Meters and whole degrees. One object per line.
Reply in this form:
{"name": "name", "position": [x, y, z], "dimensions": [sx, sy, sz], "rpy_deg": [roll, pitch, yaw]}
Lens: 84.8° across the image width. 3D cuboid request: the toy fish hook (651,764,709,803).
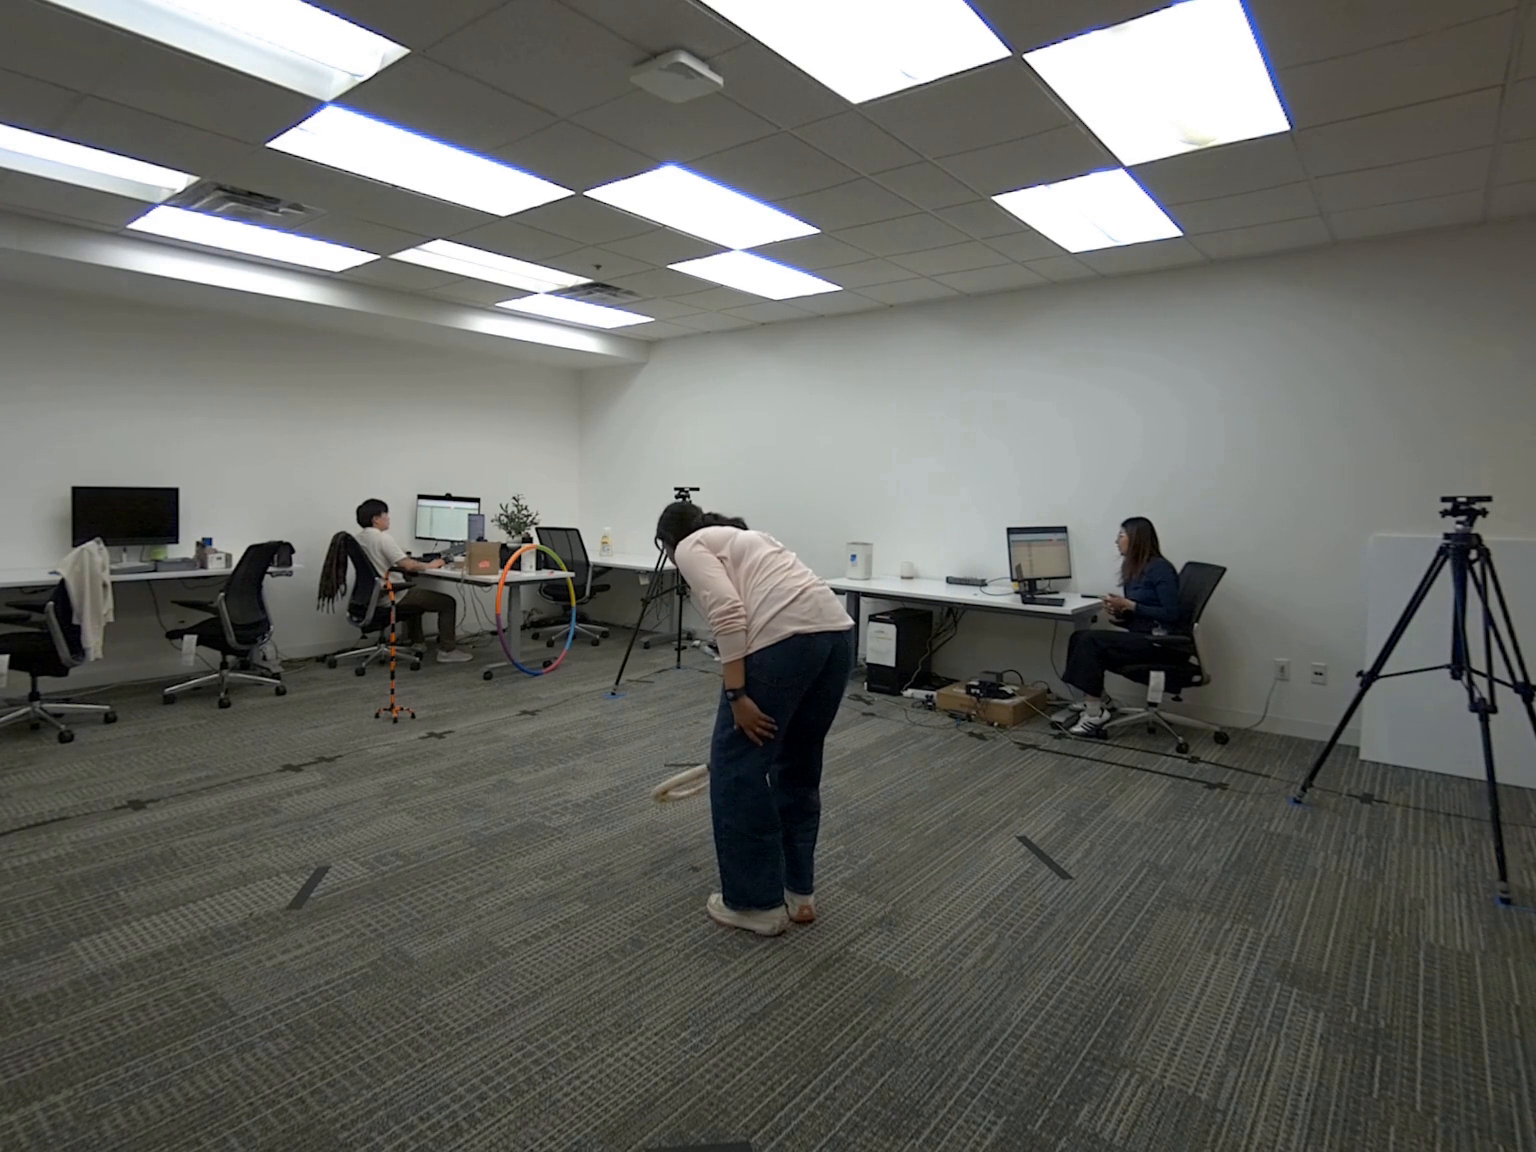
{"name": "toy fish hook", "position": [-0.243, 0.740, 3.214], "dimensions": [0.511, 0.050, 0.216], "rpy_deg": [-32, -30, 24]}
